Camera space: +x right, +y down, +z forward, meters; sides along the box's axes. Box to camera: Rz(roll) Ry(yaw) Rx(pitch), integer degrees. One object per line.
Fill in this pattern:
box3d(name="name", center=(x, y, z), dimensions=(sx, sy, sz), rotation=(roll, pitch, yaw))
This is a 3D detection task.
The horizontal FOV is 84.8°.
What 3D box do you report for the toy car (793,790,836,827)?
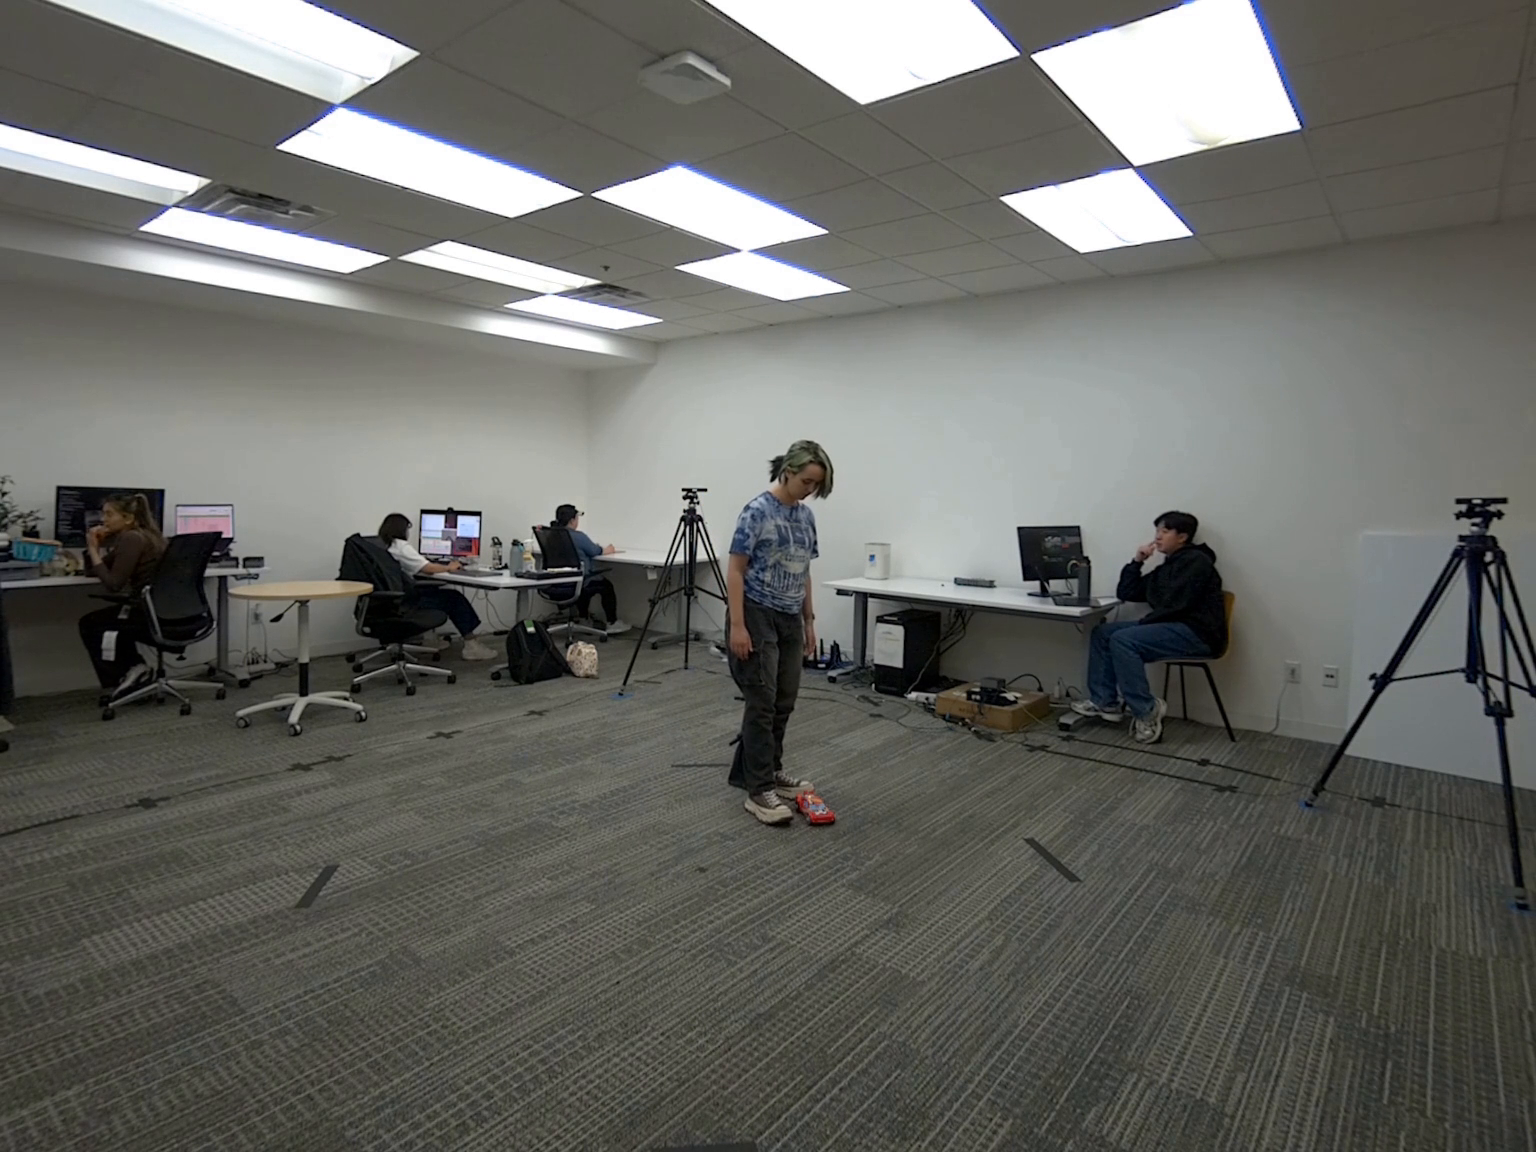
box3d(name="toy car", center=(0.185, 0.992, 3.645), dimensions=(0.129, 0.082, 0.261), rotation=(0, 16, -13))
